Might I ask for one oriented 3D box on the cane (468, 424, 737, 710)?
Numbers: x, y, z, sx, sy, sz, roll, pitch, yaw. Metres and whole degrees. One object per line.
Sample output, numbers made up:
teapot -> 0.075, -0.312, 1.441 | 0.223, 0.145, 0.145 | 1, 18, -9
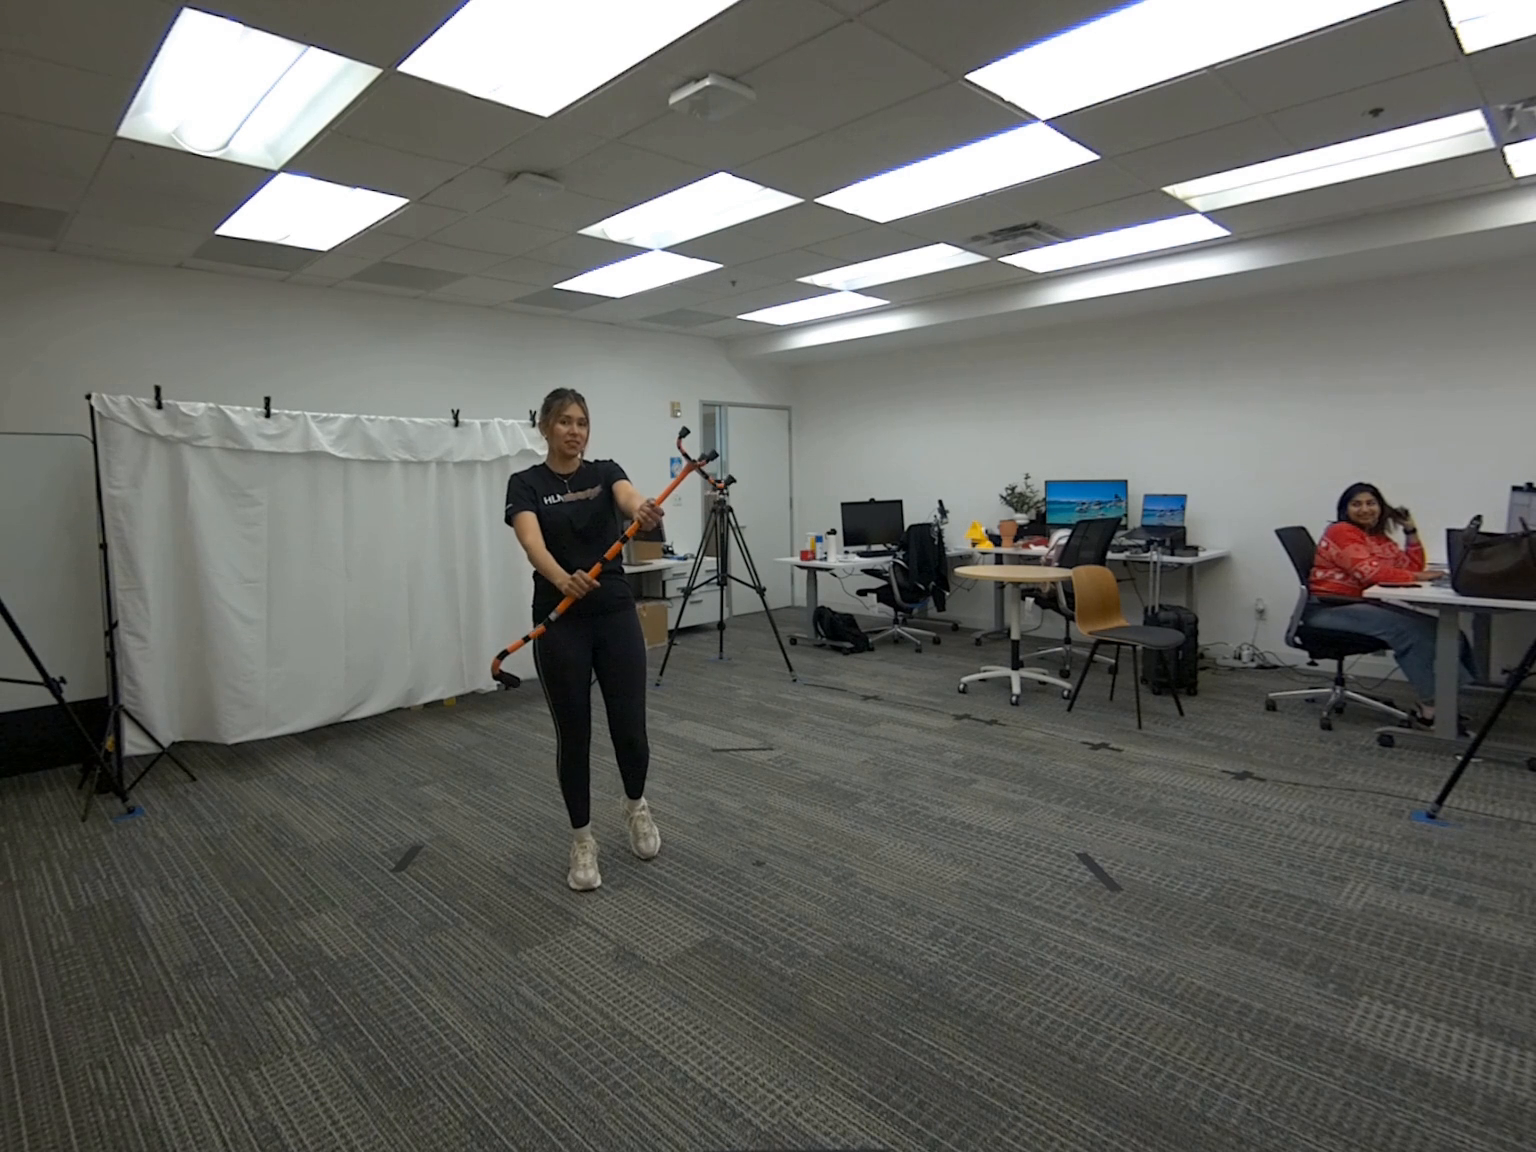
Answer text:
cane -> -0.471, -0.024, 2.507 | 0.156, 0.908, 0.201 | 39, -5, 21
